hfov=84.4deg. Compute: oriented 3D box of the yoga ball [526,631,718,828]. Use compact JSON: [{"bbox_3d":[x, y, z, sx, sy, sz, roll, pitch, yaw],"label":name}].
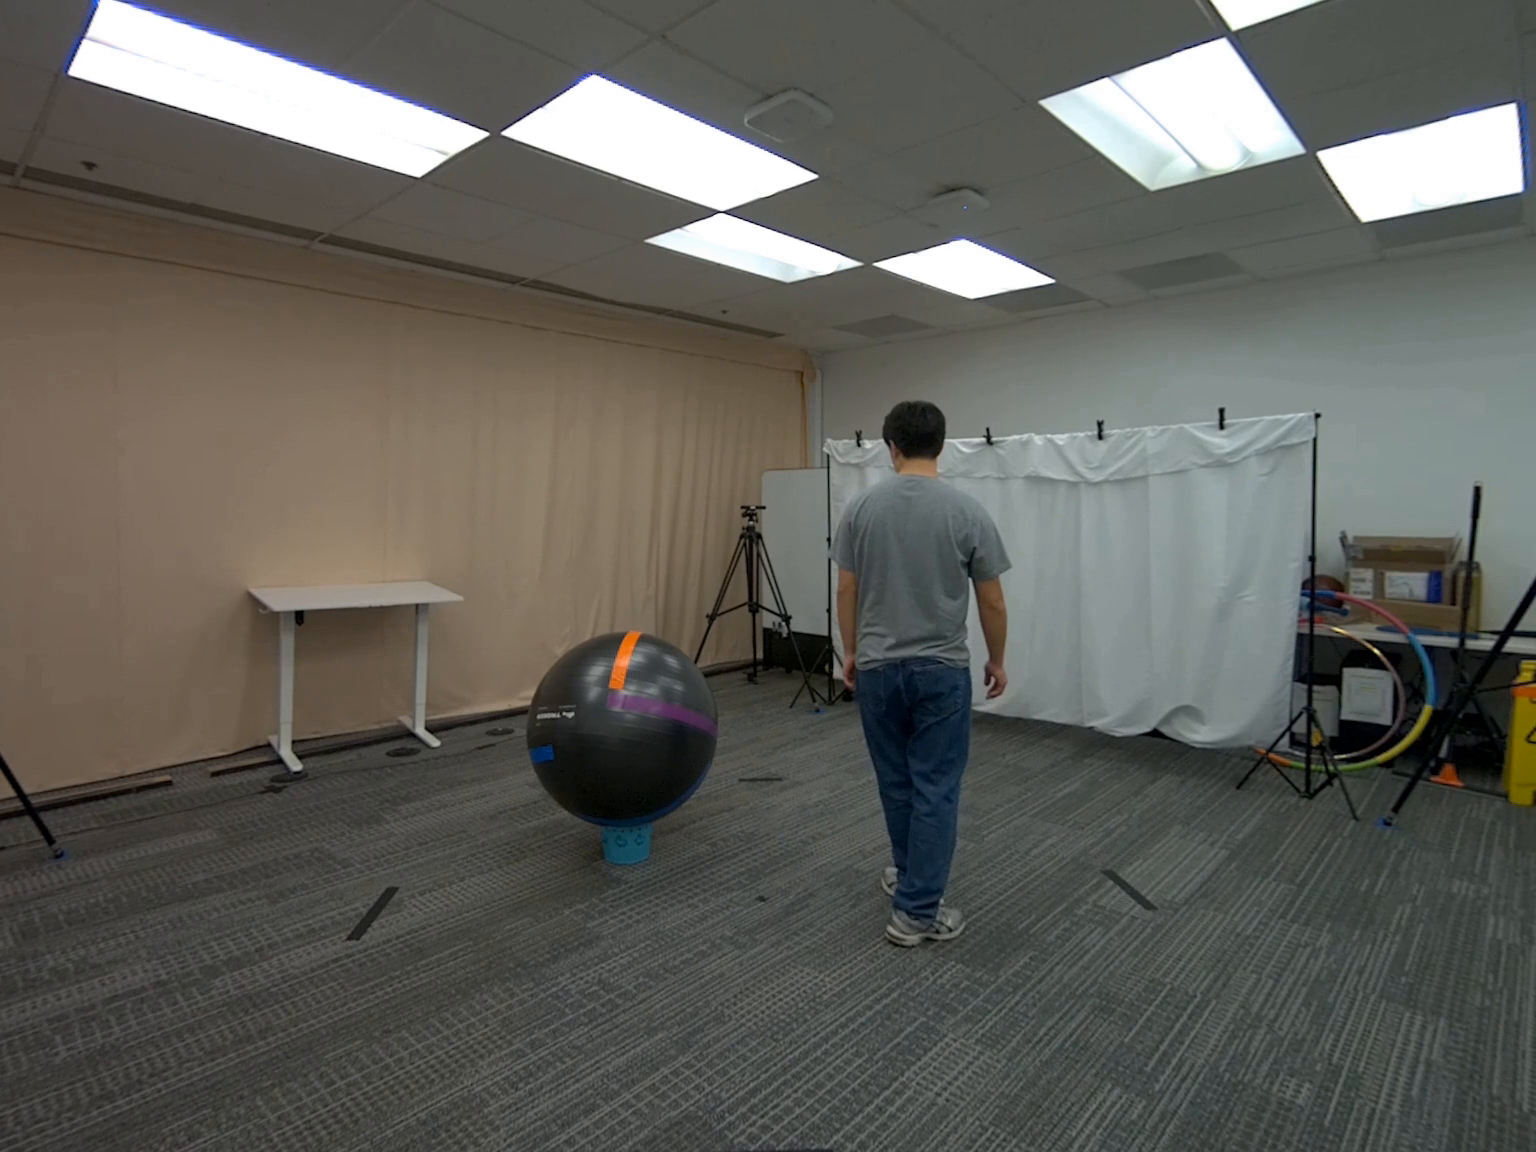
[{"bbox_3d":[-0.590,0.607,3.366,0.757,0.756,0.761,0,4,-2],"label":"yoga ball"}]
